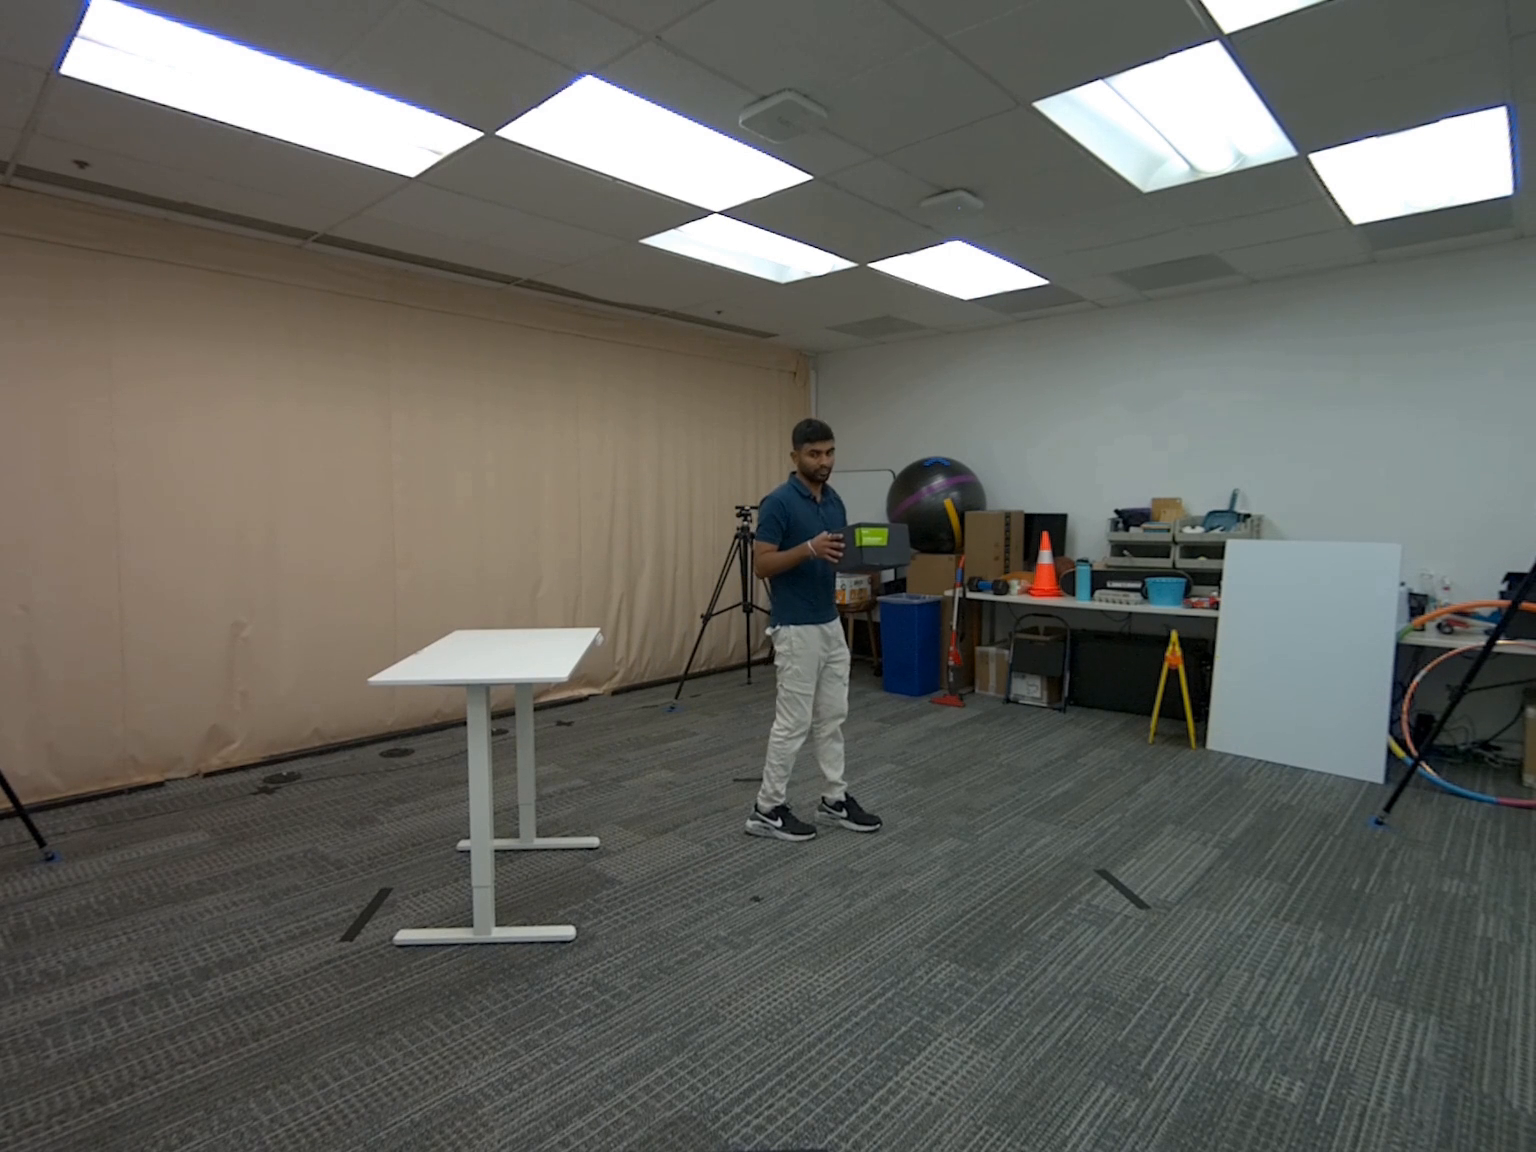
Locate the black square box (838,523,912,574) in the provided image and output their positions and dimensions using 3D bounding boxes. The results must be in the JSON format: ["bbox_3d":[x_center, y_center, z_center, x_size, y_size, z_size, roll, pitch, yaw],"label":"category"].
[{"bbox_3d":[0.388,-0.108,3.203,0.223,0.157,0.220,1,-8,-20],"label":"black square box"}]
